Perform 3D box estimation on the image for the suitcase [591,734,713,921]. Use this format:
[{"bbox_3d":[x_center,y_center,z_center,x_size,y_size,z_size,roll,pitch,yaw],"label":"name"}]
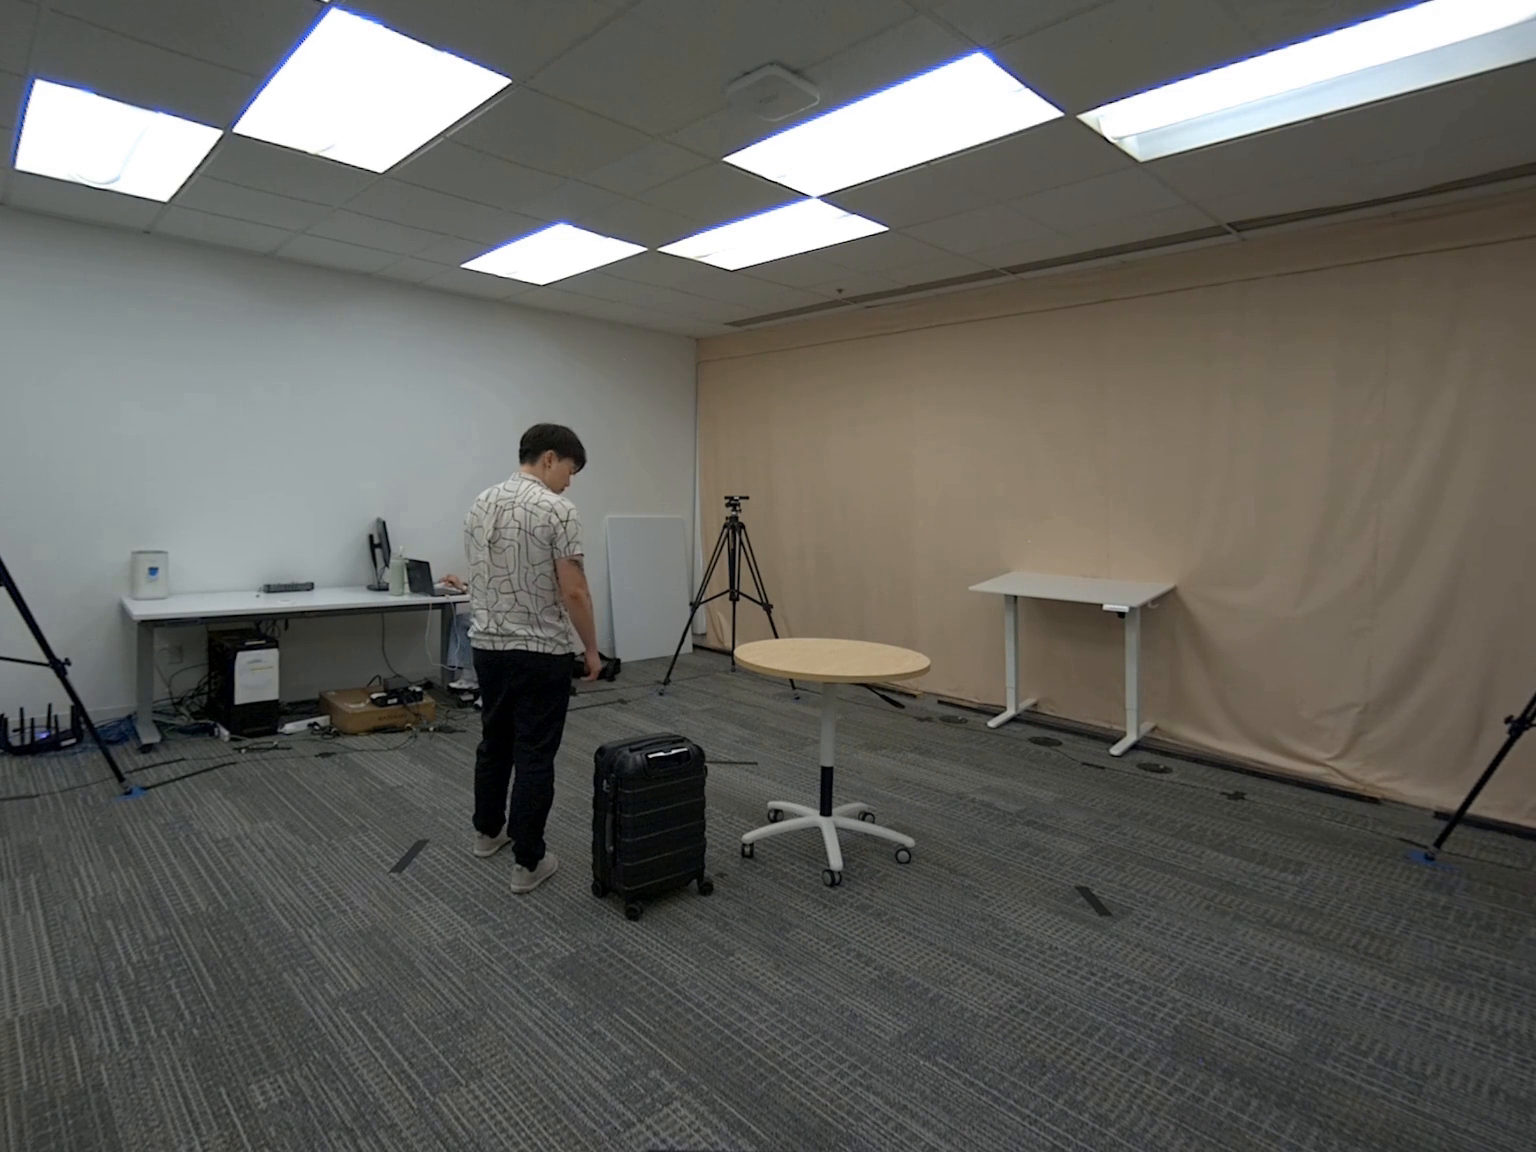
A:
[{"bbox_3d":[-0.421,0.839,2.926,0.367,0.548,0.254,-3,3,-39],"label":"suitcase"}]
